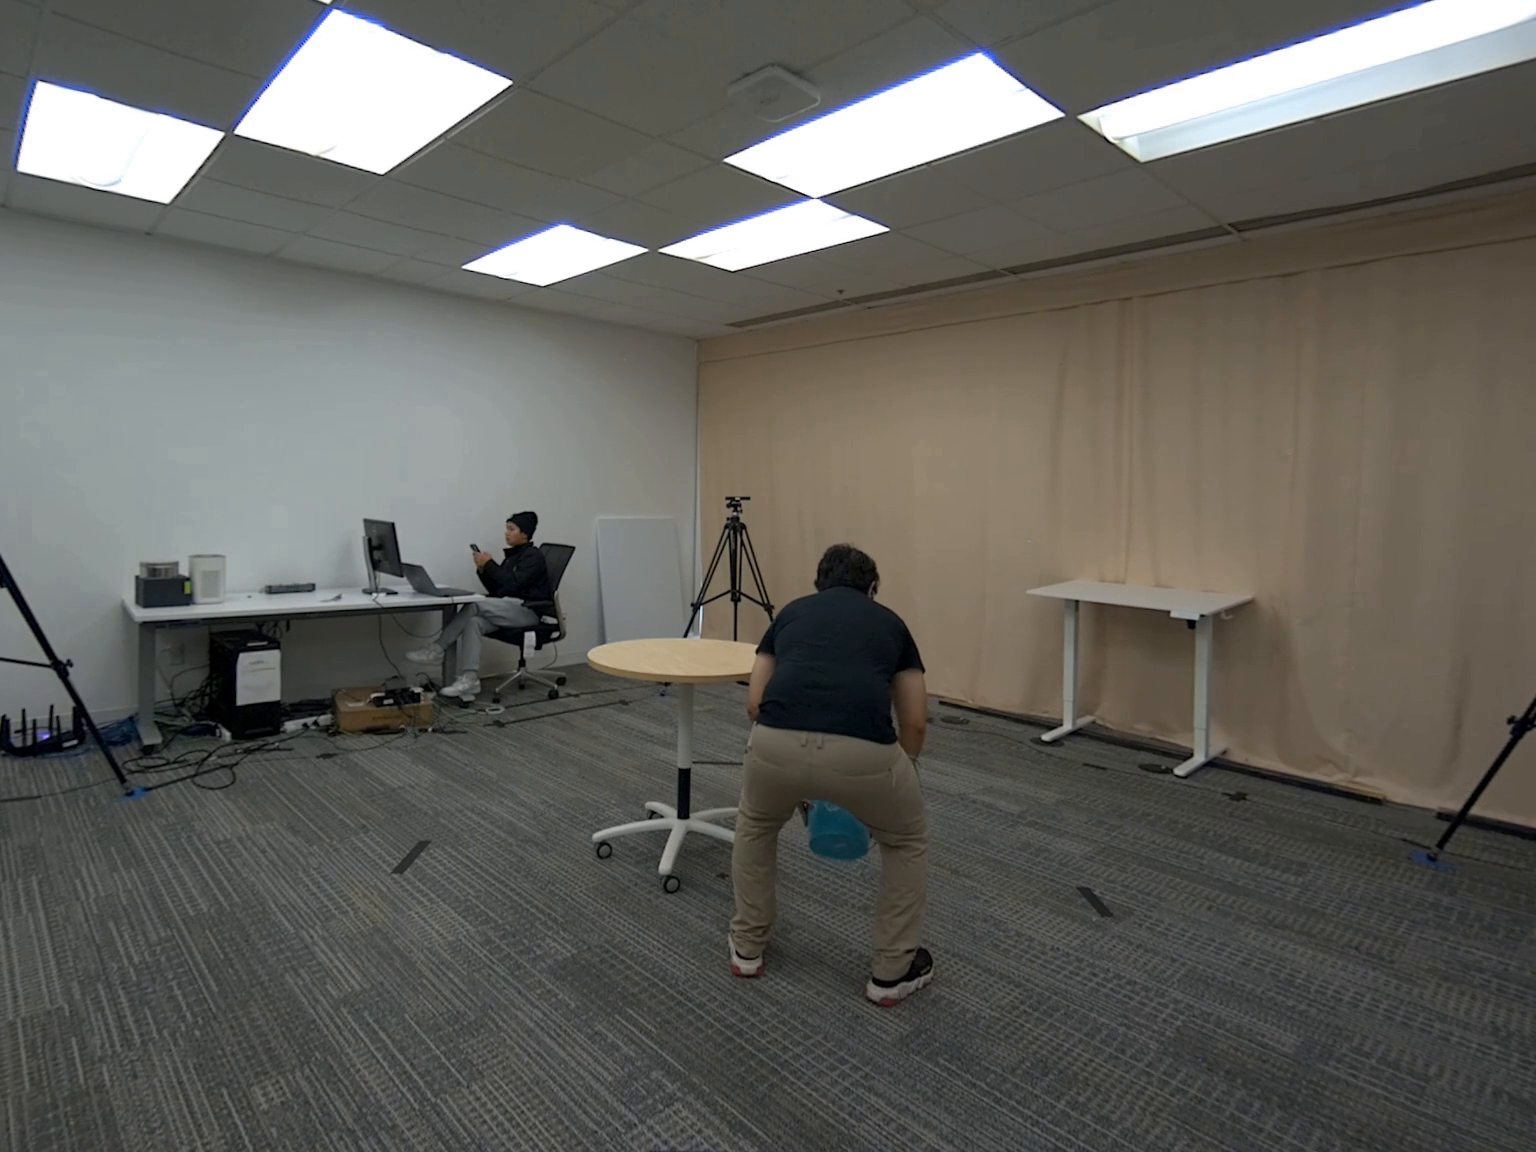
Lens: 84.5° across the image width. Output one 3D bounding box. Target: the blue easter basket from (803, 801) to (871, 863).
[{"bbox_3d":[0.231,0.777,2.635,0.246,0.237,0.158,2,47,11],"label":"blue easter basket"}]
